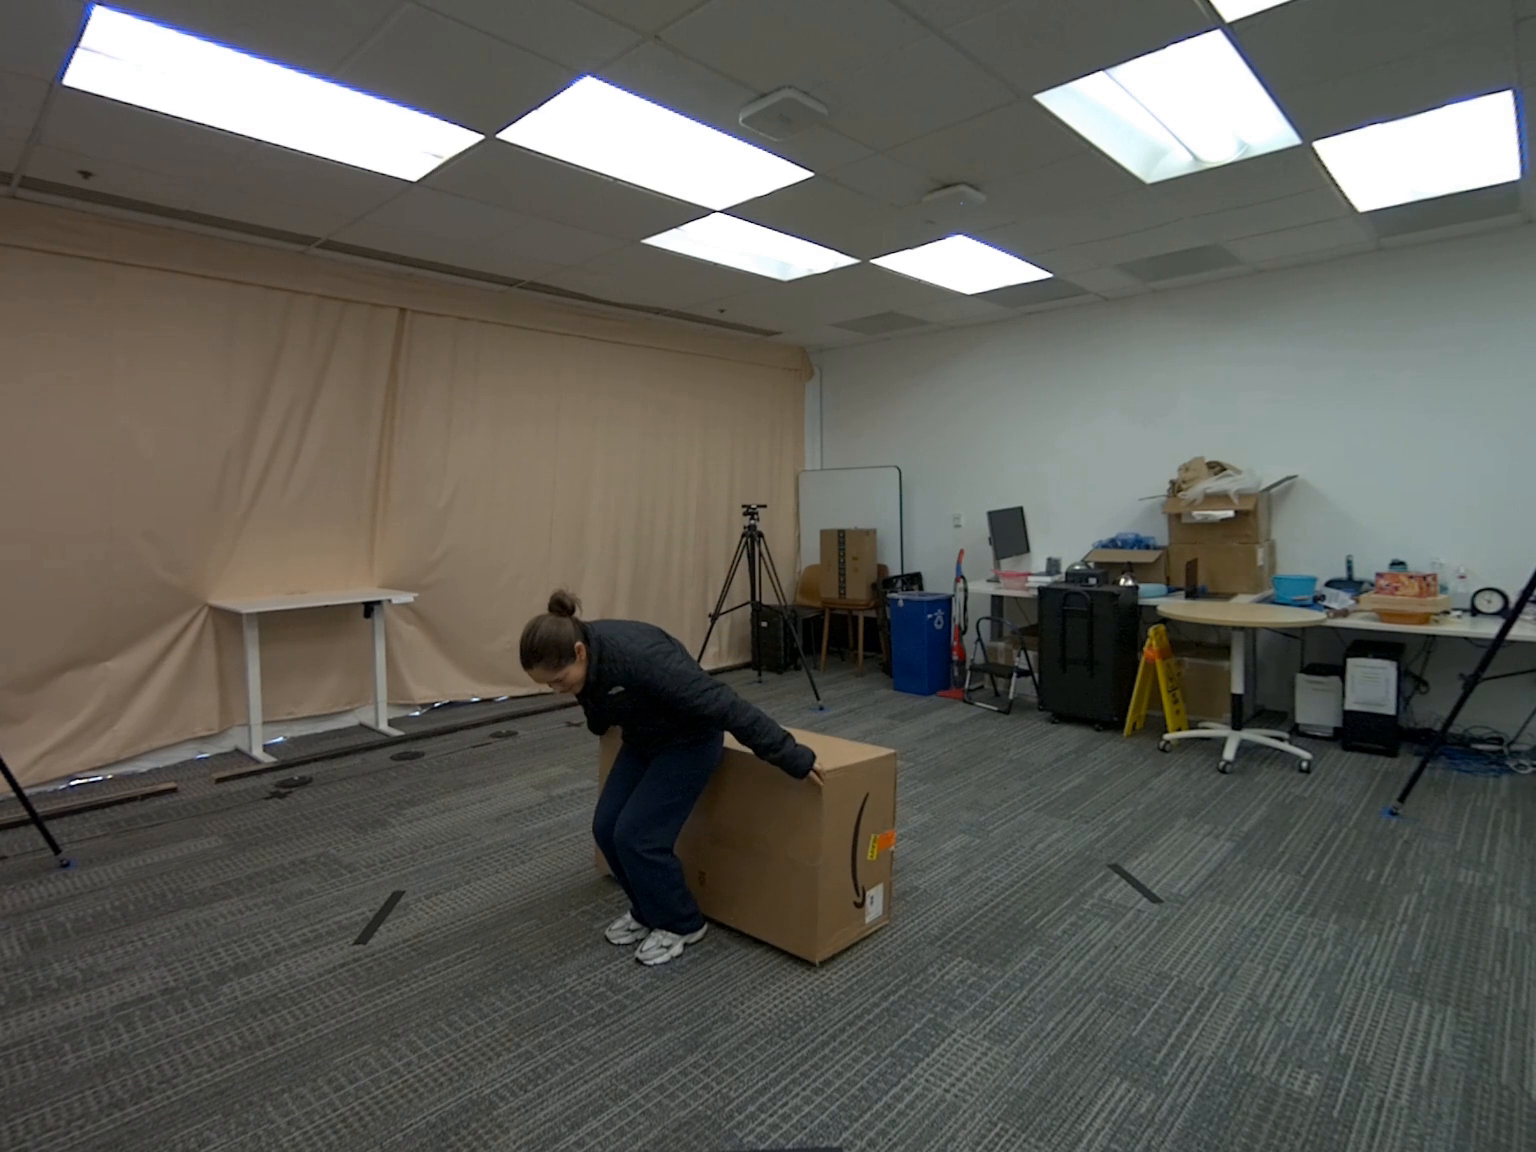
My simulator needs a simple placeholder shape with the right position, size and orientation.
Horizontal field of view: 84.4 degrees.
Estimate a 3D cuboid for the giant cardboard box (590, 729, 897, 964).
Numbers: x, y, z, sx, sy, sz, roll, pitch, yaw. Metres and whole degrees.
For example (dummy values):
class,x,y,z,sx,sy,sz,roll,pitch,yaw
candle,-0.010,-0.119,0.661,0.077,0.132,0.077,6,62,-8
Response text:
class,x,y,z,sx,sy,sz,roll,pitch,yaw
giant cardboard box,-0.093,0.842,2.988,1.060,0.577,0.412,3,2,41
